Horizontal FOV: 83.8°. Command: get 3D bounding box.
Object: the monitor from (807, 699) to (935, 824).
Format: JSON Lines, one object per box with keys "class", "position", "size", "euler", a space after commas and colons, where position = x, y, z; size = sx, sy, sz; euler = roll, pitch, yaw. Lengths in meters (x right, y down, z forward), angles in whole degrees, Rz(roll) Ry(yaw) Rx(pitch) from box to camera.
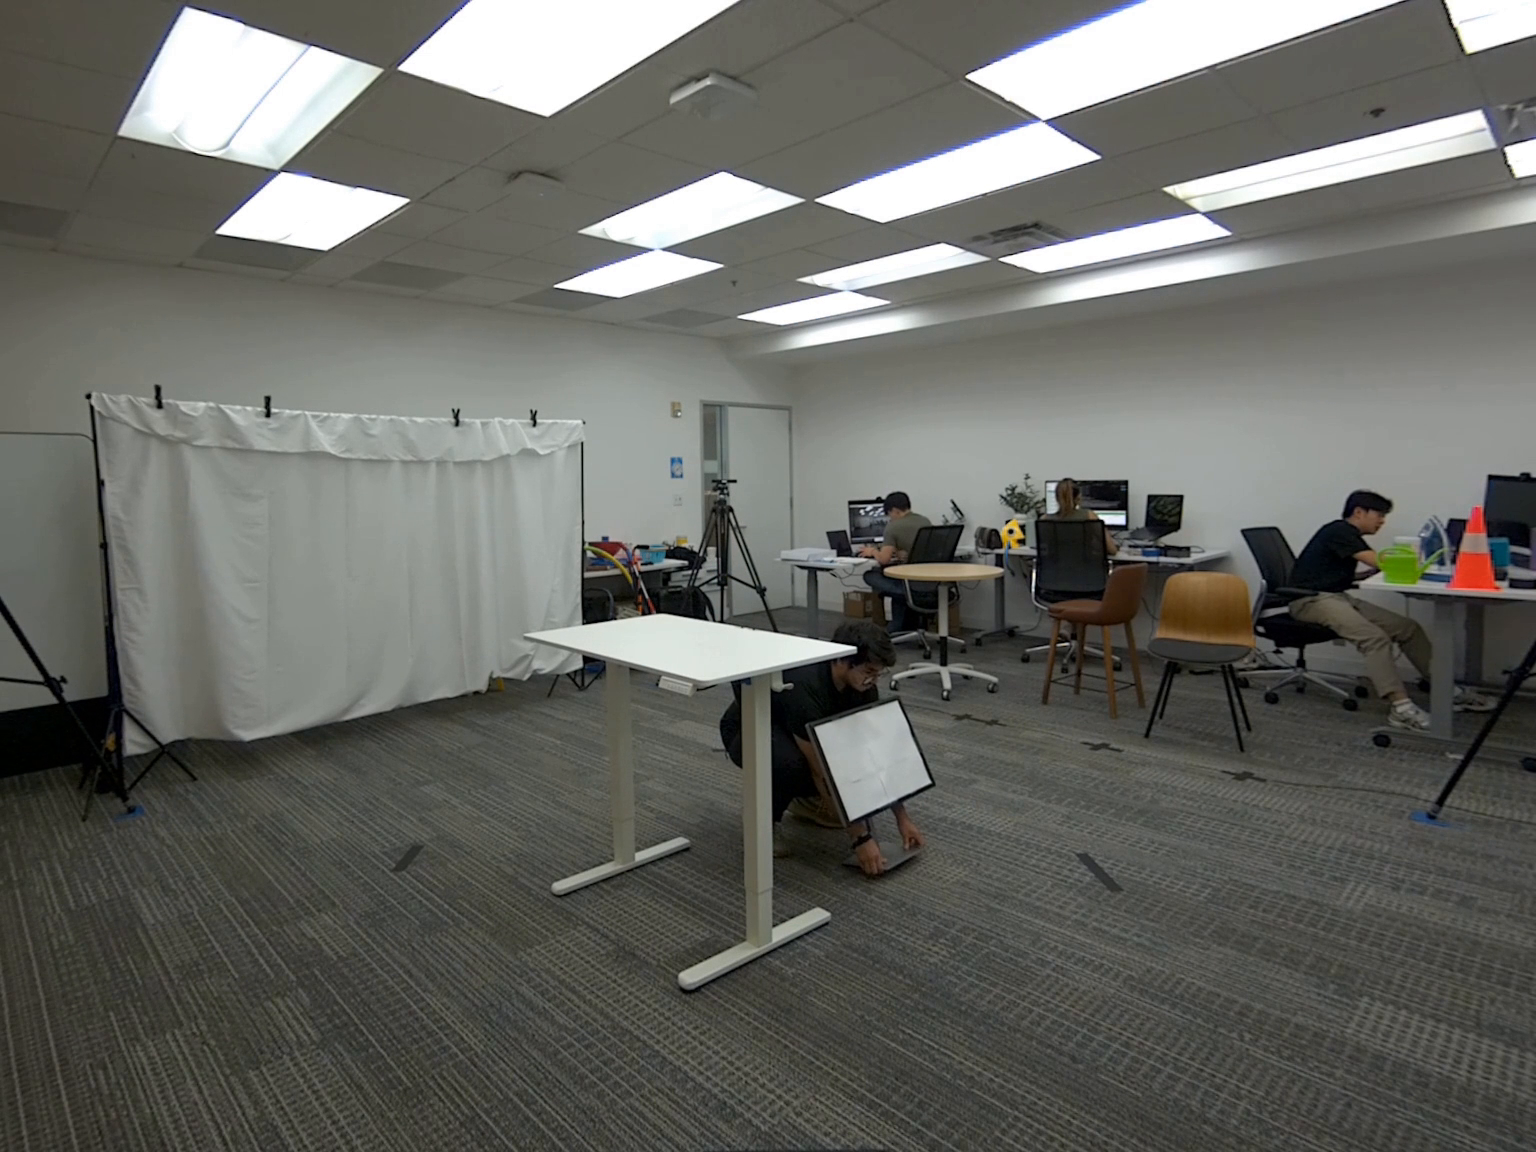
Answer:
{"class": "monitor", "position": [0.352, 0.760, 3.135], "size": [0.550, 0.560, 0.213], "euler": [-5, -14, -46]}
